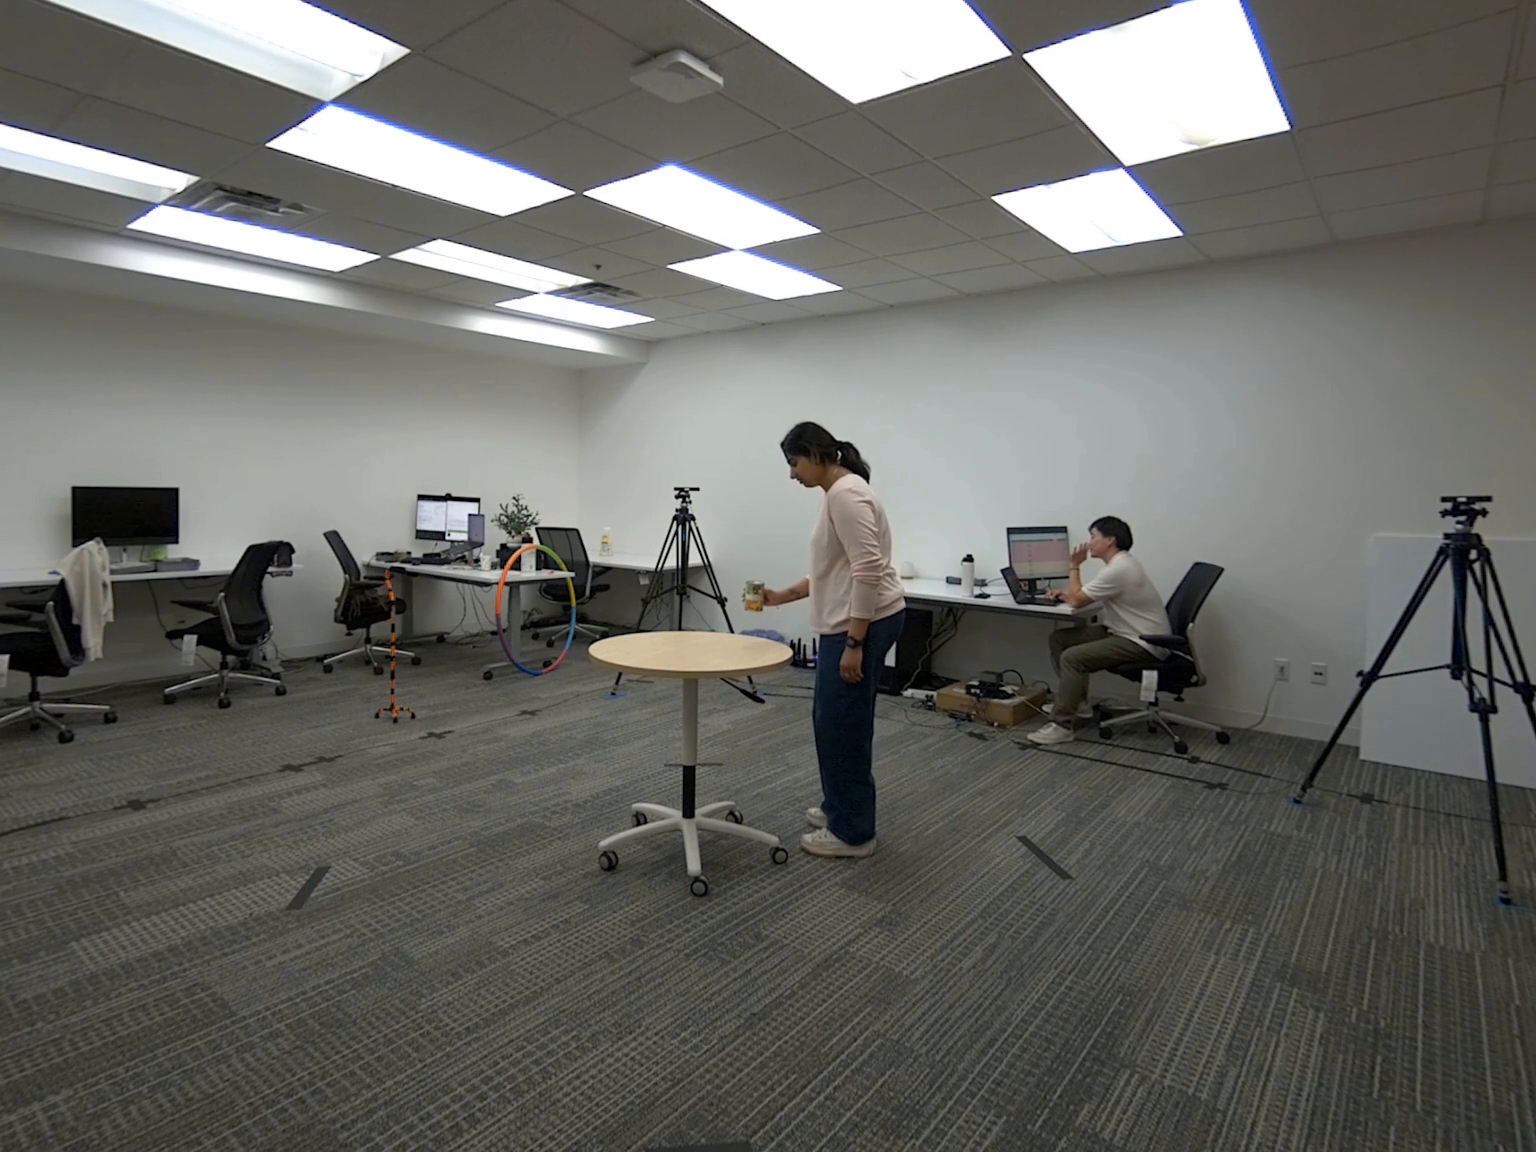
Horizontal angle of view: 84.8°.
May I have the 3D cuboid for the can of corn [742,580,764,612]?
[{"bbox_3d":[-0.066,0.075,3.408,0.074,0.110,0.075,-1,6,-2],"label":"can of corn"}]
